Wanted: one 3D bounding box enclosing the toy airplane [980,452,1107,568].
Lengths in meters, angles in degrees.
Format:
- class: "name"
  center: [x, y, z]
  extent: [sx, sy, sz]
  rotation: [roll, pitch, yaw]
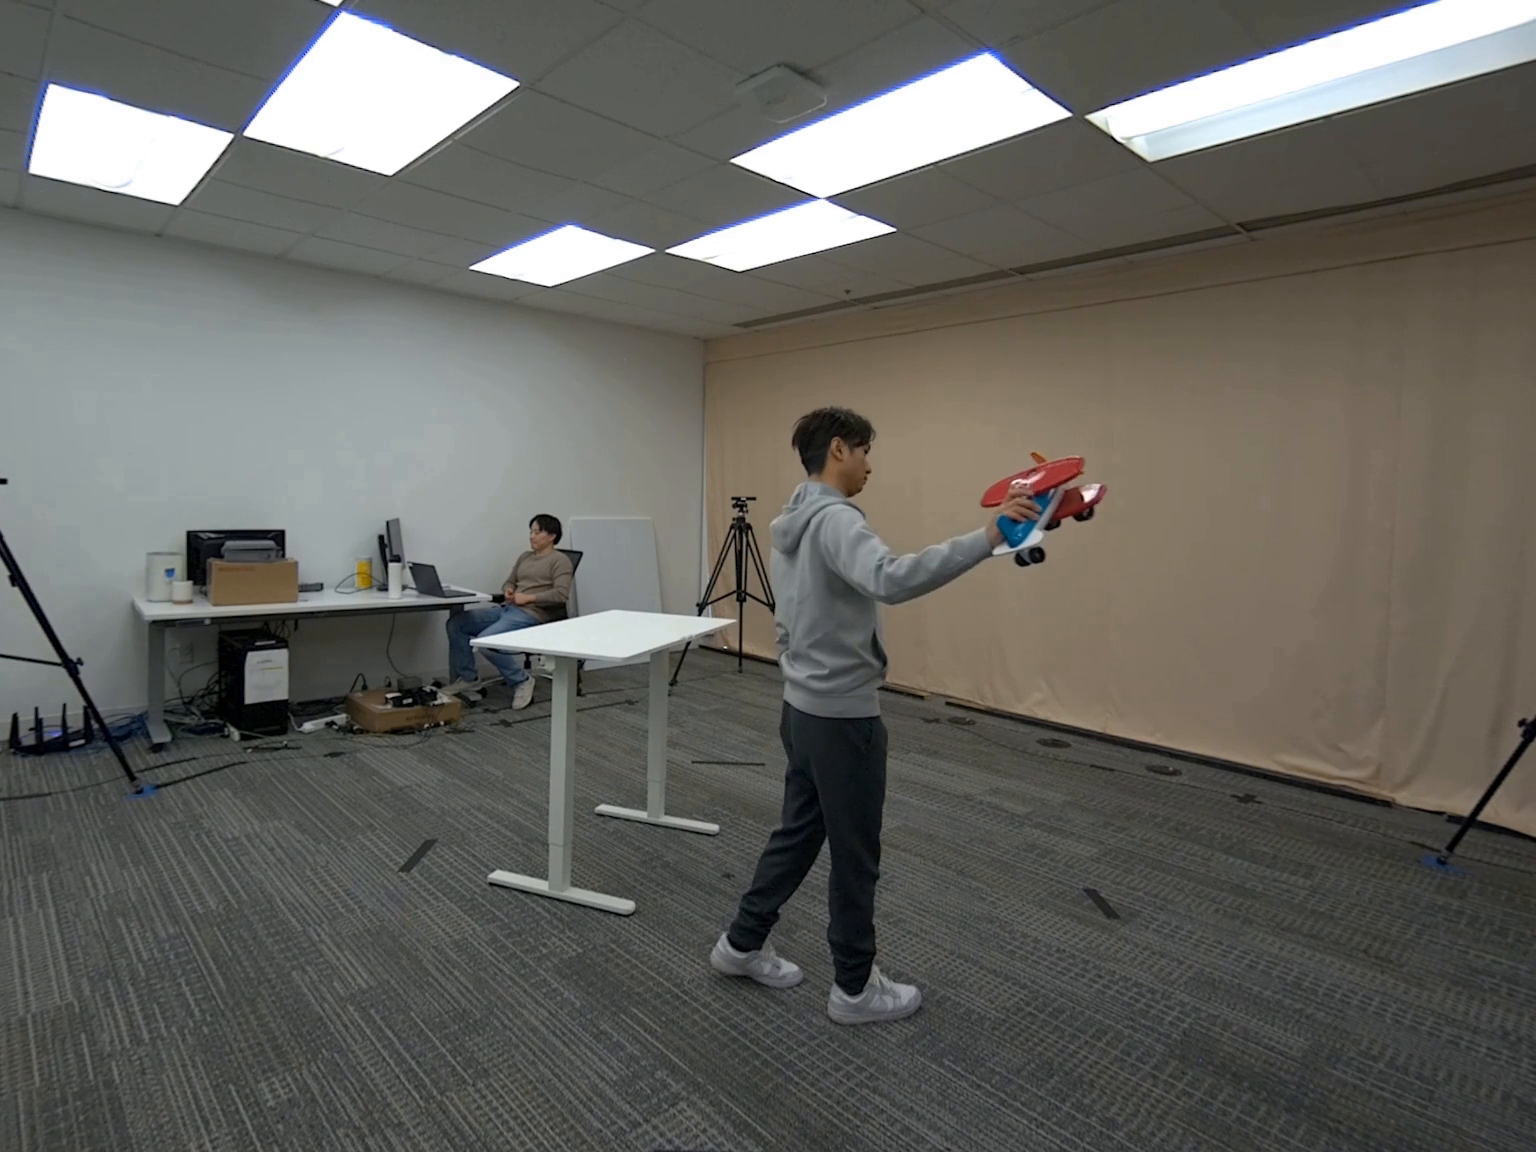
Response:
- class: "toy airplane"
  center: [0.581, -0.142, 1.781]
  extent: [0.253, 0.155, 0.259]
  rotation: [-27, 10, 27]
